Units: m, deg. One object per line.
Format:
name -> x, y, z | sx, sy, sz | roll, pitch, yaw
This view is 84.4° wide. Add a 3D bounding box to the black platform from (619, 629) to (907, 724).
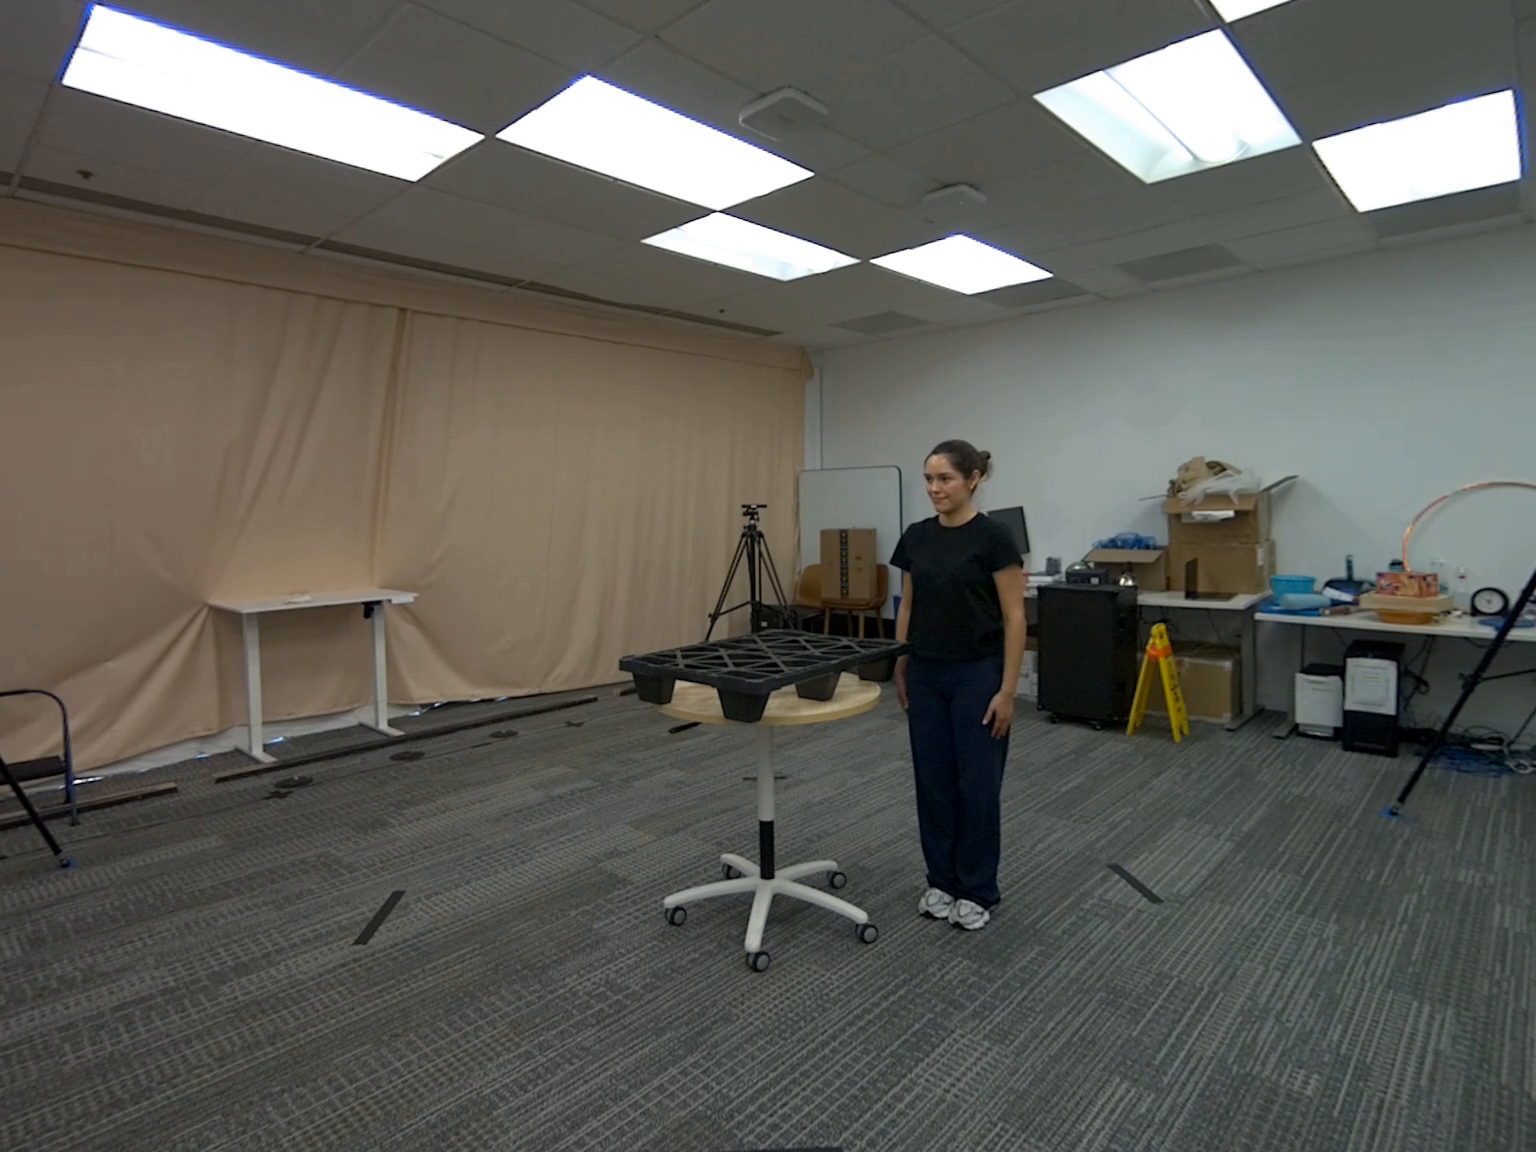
black platform -> 0.031, 0.316, 2.762 | 0.625, 0.143, 0.781 | 3, 6, 42
